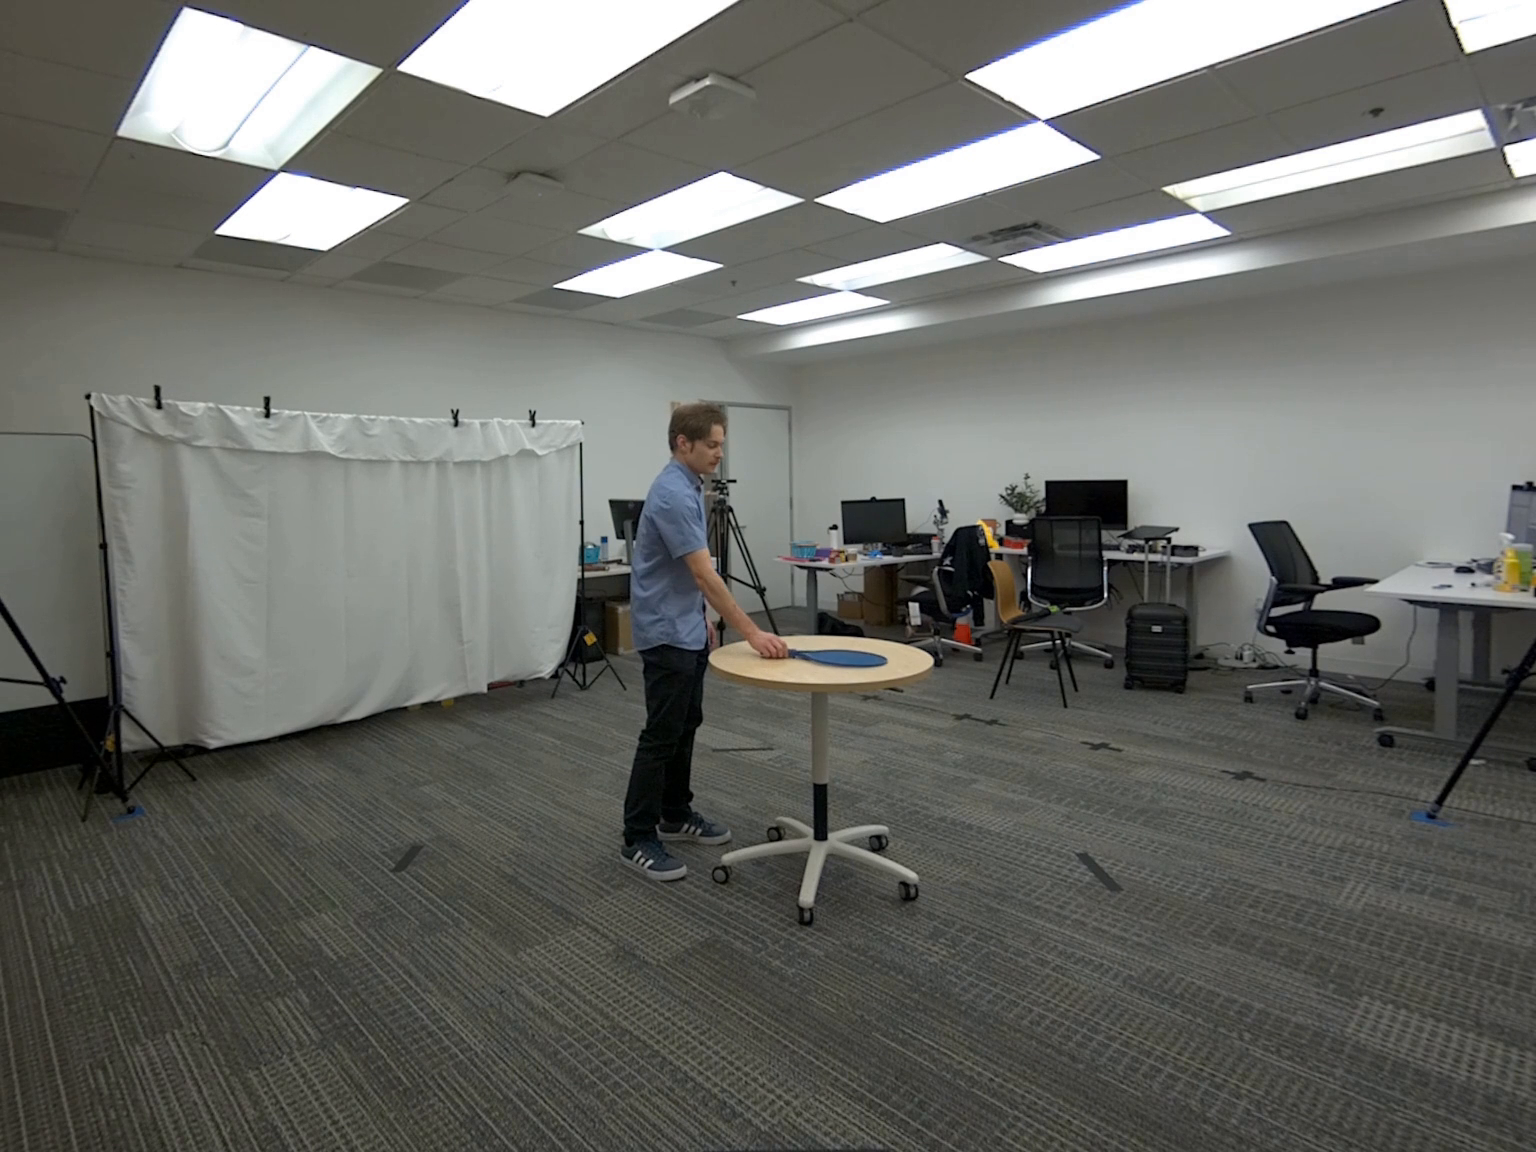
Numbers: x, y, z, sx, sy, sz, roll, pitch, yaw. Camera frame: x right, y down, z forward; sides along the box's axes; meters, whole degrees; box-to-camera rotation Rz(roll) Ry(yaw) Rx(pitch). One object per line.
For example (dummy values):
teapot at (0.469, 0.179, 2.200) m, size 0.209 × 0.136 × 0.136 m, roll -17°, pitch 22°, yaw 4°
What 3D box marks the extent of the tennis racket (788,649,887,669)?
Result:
tennis racket at (0.189, 0.272, 2.890) m, size 0.440 × 0.031 × 0.211 m, roll 3°, pitch 9°, yaw 16°
